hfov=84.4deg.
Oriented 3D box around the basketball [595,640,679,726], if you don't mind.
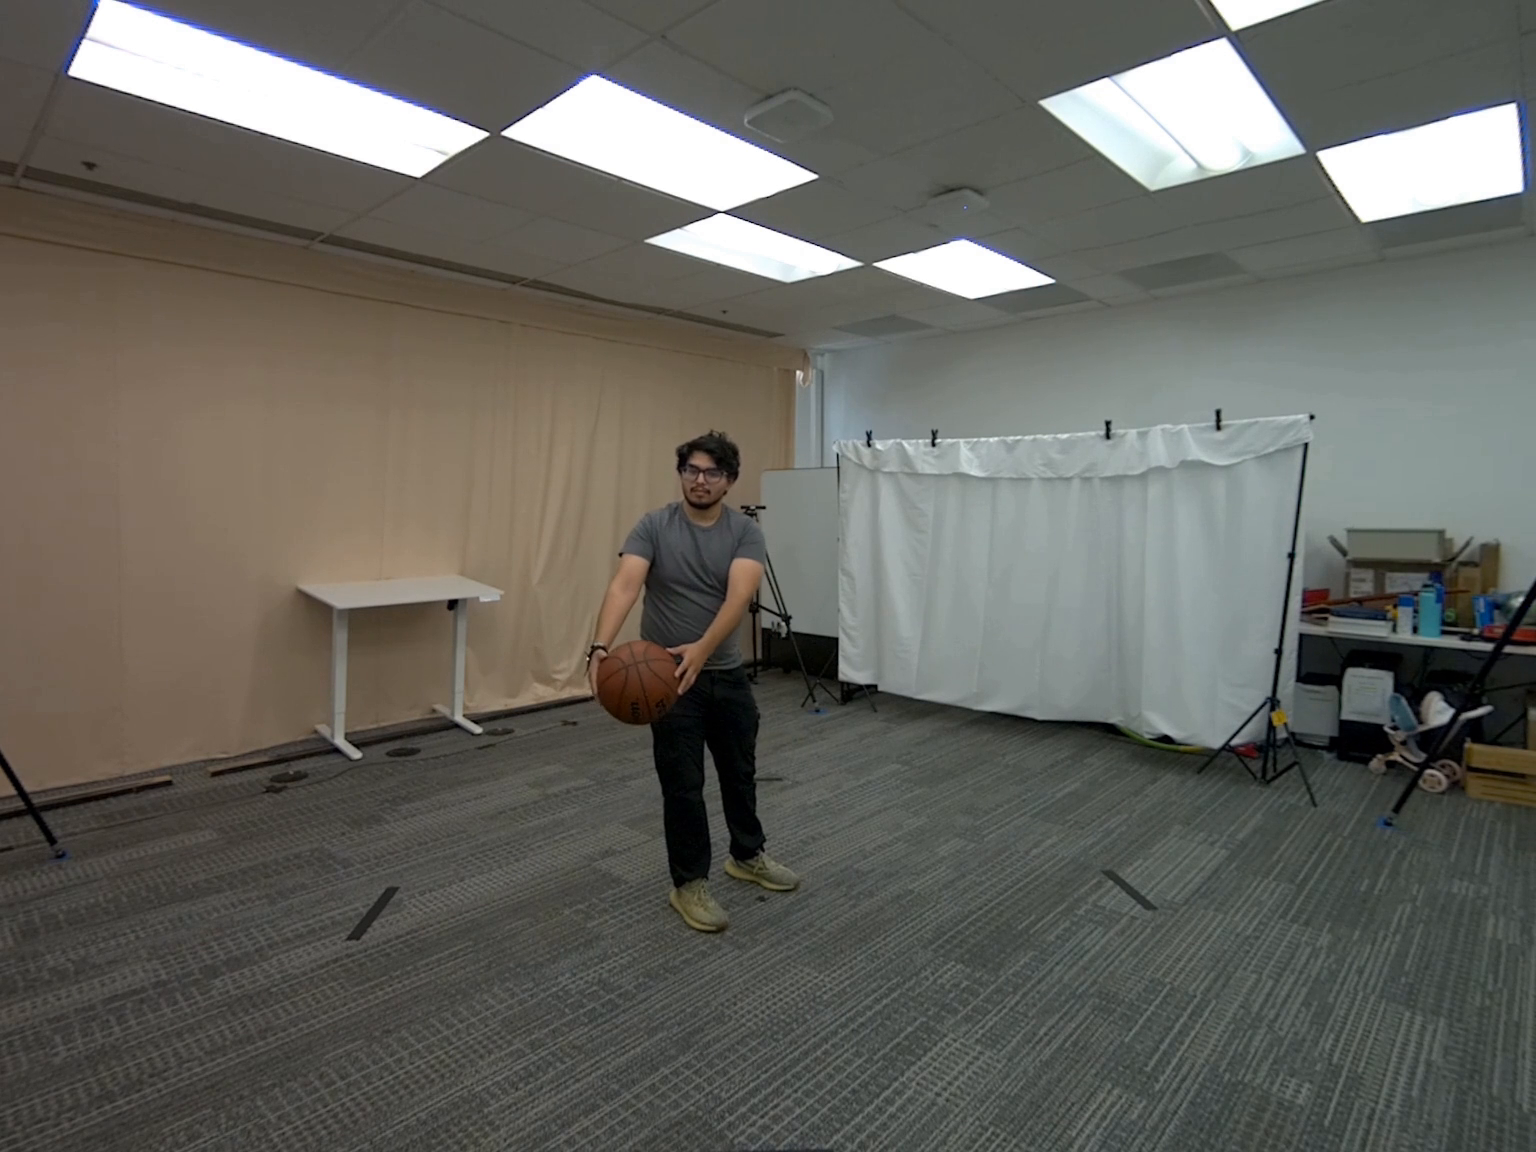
[{"bbox_3d":[-0.362,0.300,2.406,0.236,0.235,0.237,0,4,-2],"label":"basketball"}]
